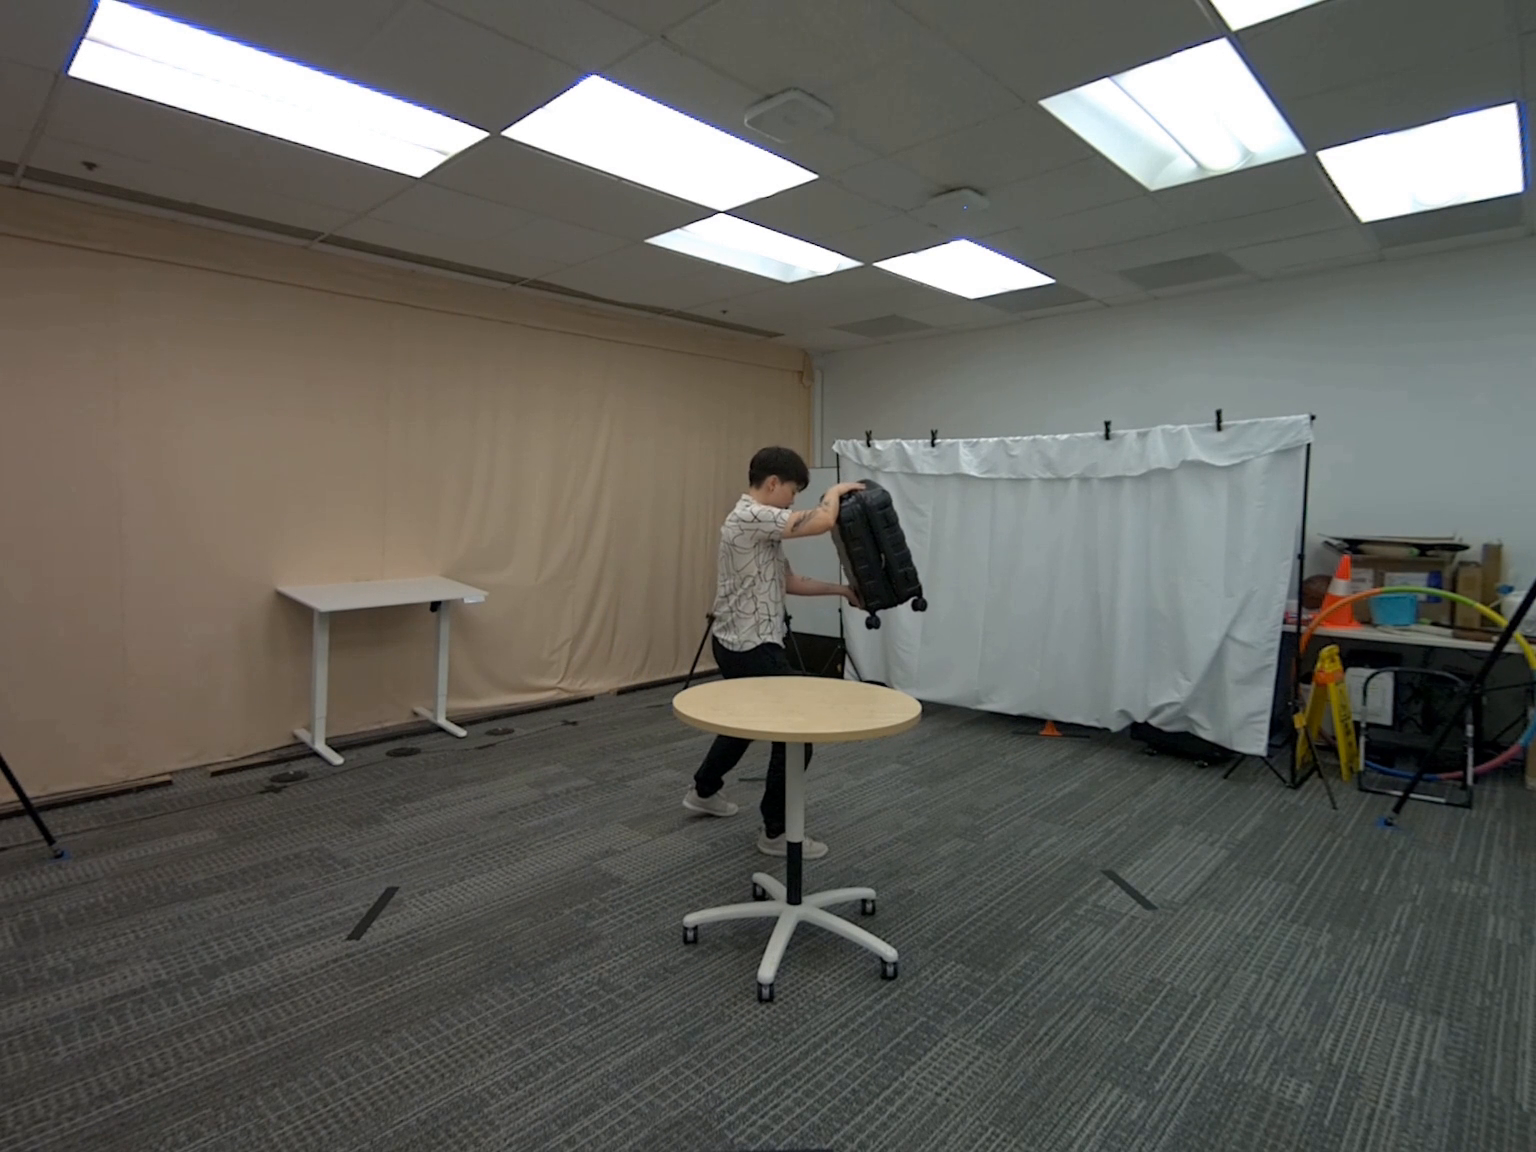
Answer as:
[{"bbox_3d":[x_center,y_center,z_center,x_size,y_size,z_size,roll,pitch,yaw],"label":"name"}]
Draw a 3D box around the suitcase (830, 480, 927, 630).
[{"bbox_3d":[0.425,-0.112,3.503,0.248,0.542,0.380,-21,14,0],"label":"suitcase"}]
